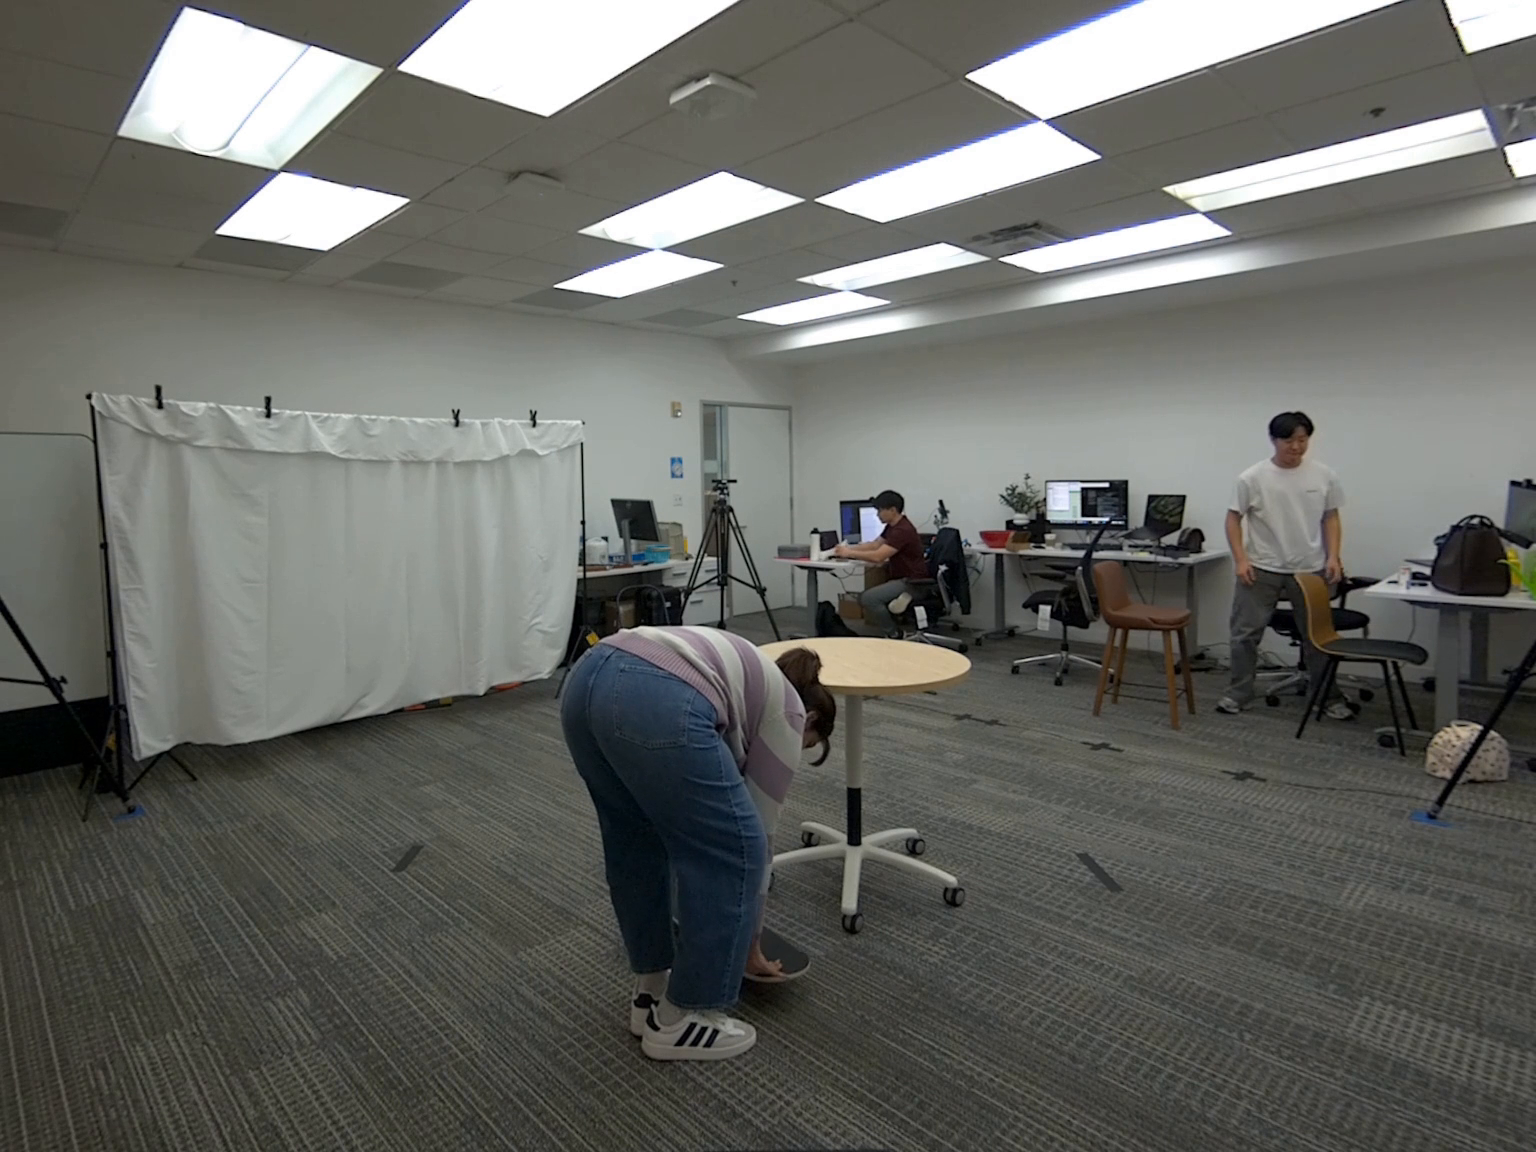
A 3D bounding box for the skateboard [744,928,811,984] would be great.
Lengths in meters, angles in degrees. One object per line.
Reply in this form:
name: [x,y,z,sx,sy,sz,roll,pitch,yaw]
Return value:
skateboard: [-0.157,1.057,2.556,0.188,0.110,0.810,-5,8,-37]
